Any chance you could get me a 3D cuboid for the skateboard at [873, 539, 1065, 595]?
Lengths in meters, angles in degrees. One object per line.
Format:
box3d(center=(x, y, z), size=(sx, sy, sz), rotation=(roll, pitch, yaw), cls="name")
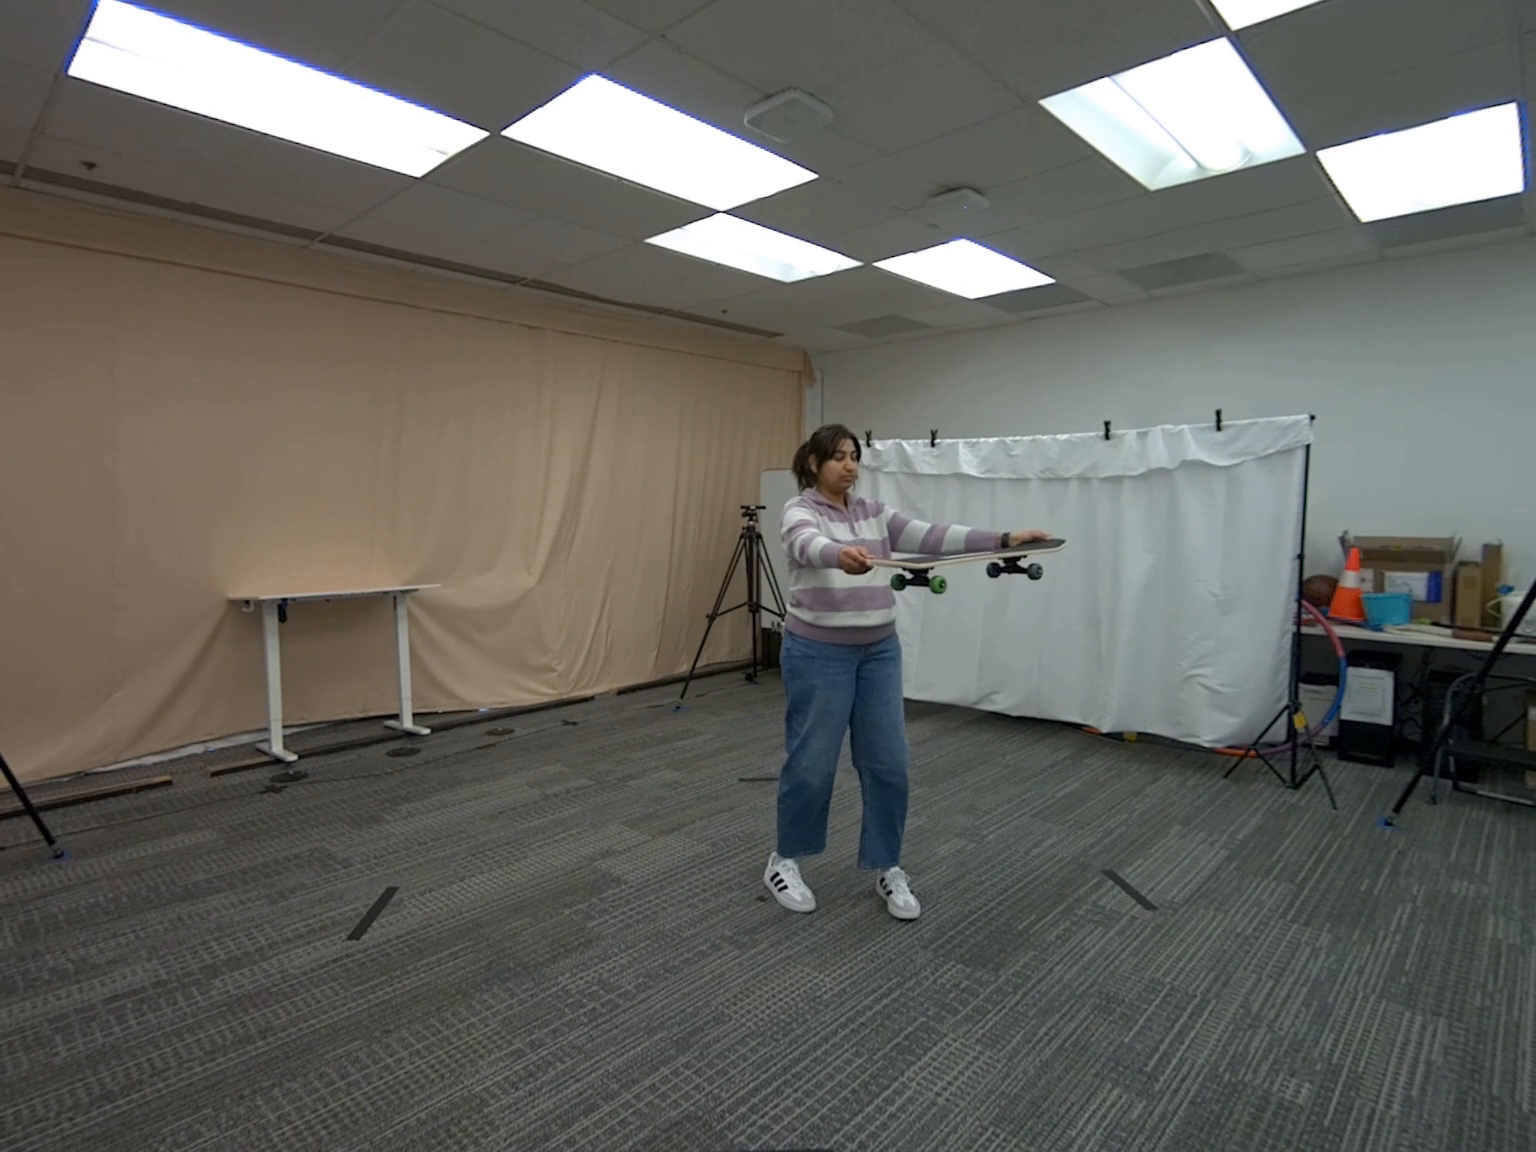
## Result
box3d(center=(0.586, -0.032, 2.475), size=(0.764, 0.110, 0.199), rotation=(-7, 9, -33), cls="skateboard")
